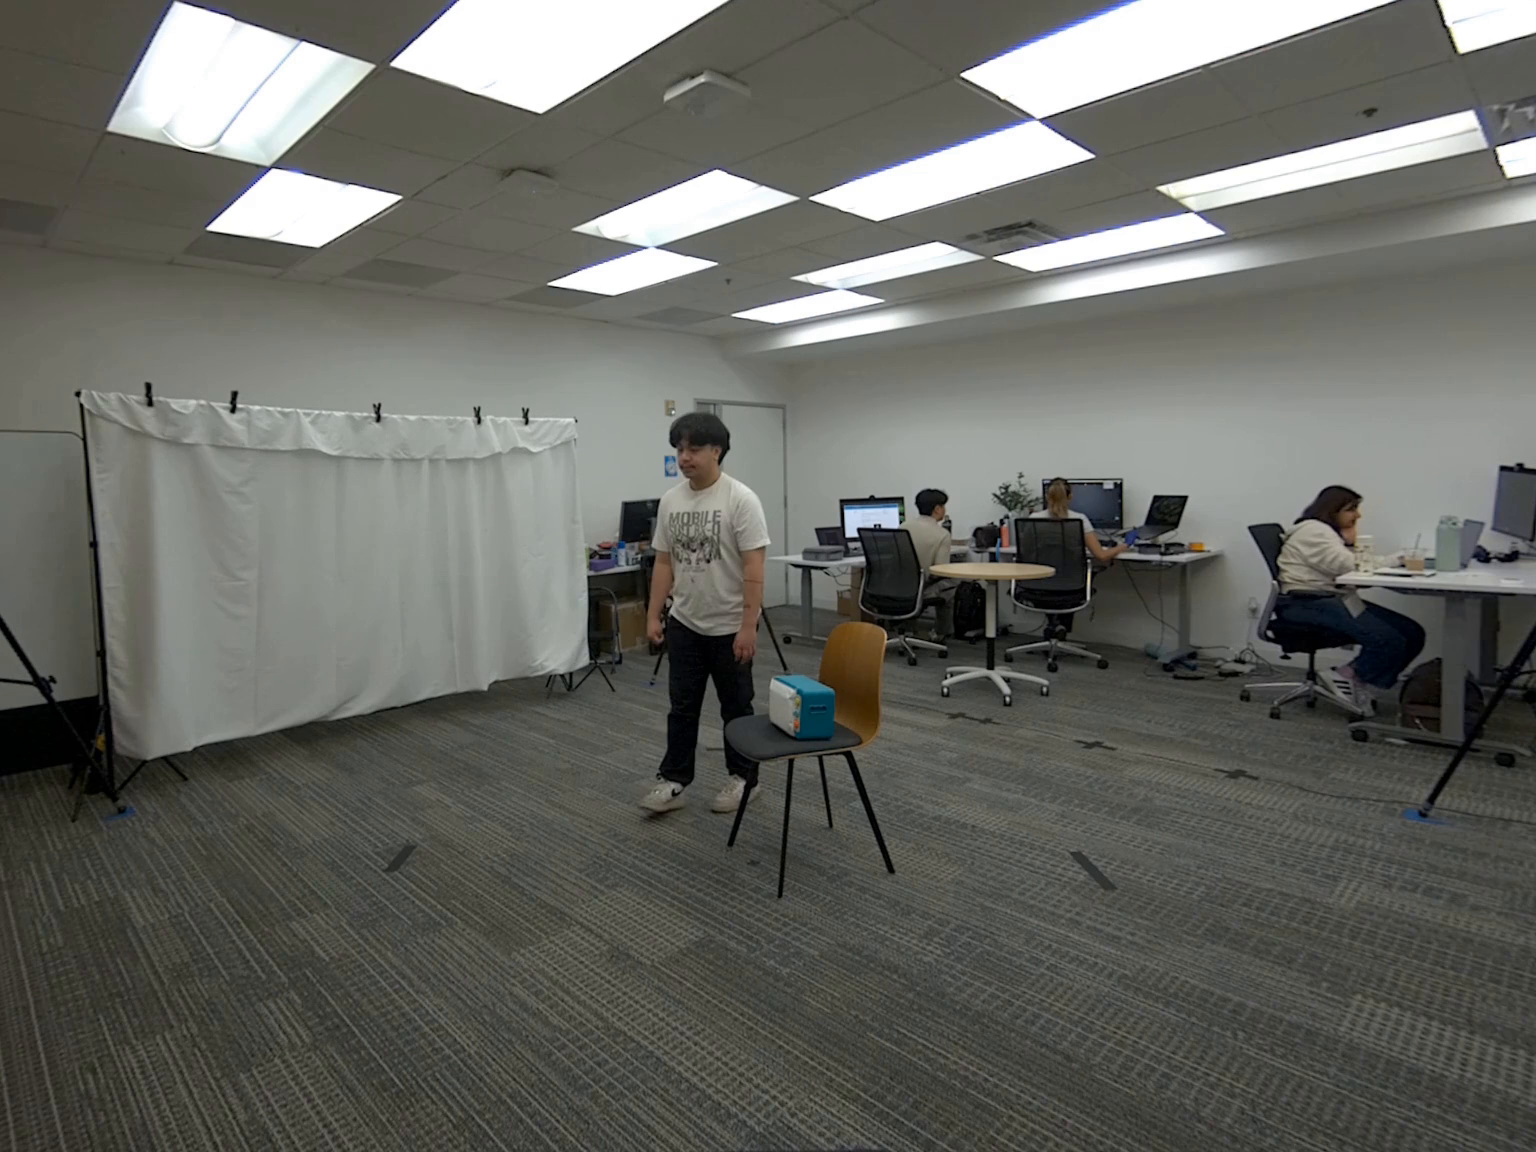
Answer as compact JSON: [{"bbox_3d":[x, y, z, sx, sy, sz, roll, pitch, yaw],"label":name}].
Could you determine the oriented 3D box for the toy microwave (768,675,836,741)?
[{"bbox_3d":[0.117,0.471,3.073,0.149,0.184,0.292,2,4,-21],"label":"toy microwave"}]
